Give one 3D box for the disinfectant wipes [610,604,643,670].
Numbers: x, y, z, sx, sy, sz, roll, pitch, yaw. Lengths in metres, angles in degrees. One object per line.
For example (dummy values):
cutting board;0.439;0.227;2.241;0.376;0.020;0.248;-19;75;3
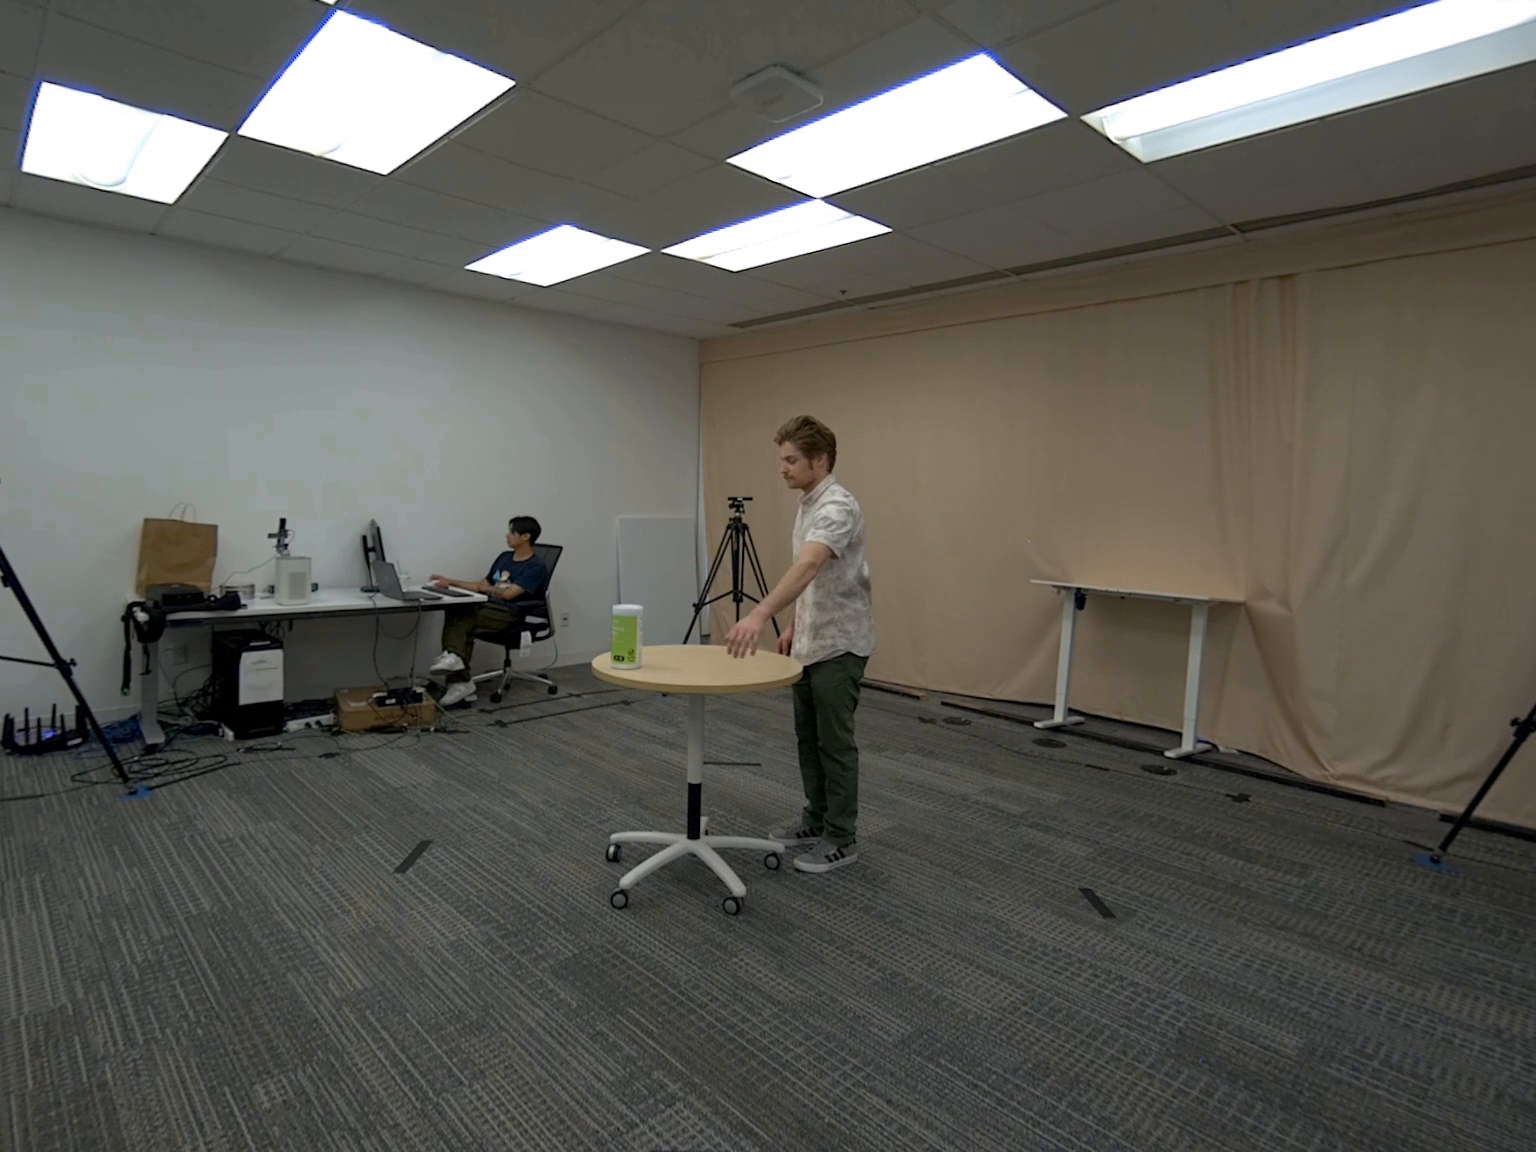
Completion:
disinfectant wipes;-0.499;0.214;2.947;0.118;0.217;0.118;2;5;-2
